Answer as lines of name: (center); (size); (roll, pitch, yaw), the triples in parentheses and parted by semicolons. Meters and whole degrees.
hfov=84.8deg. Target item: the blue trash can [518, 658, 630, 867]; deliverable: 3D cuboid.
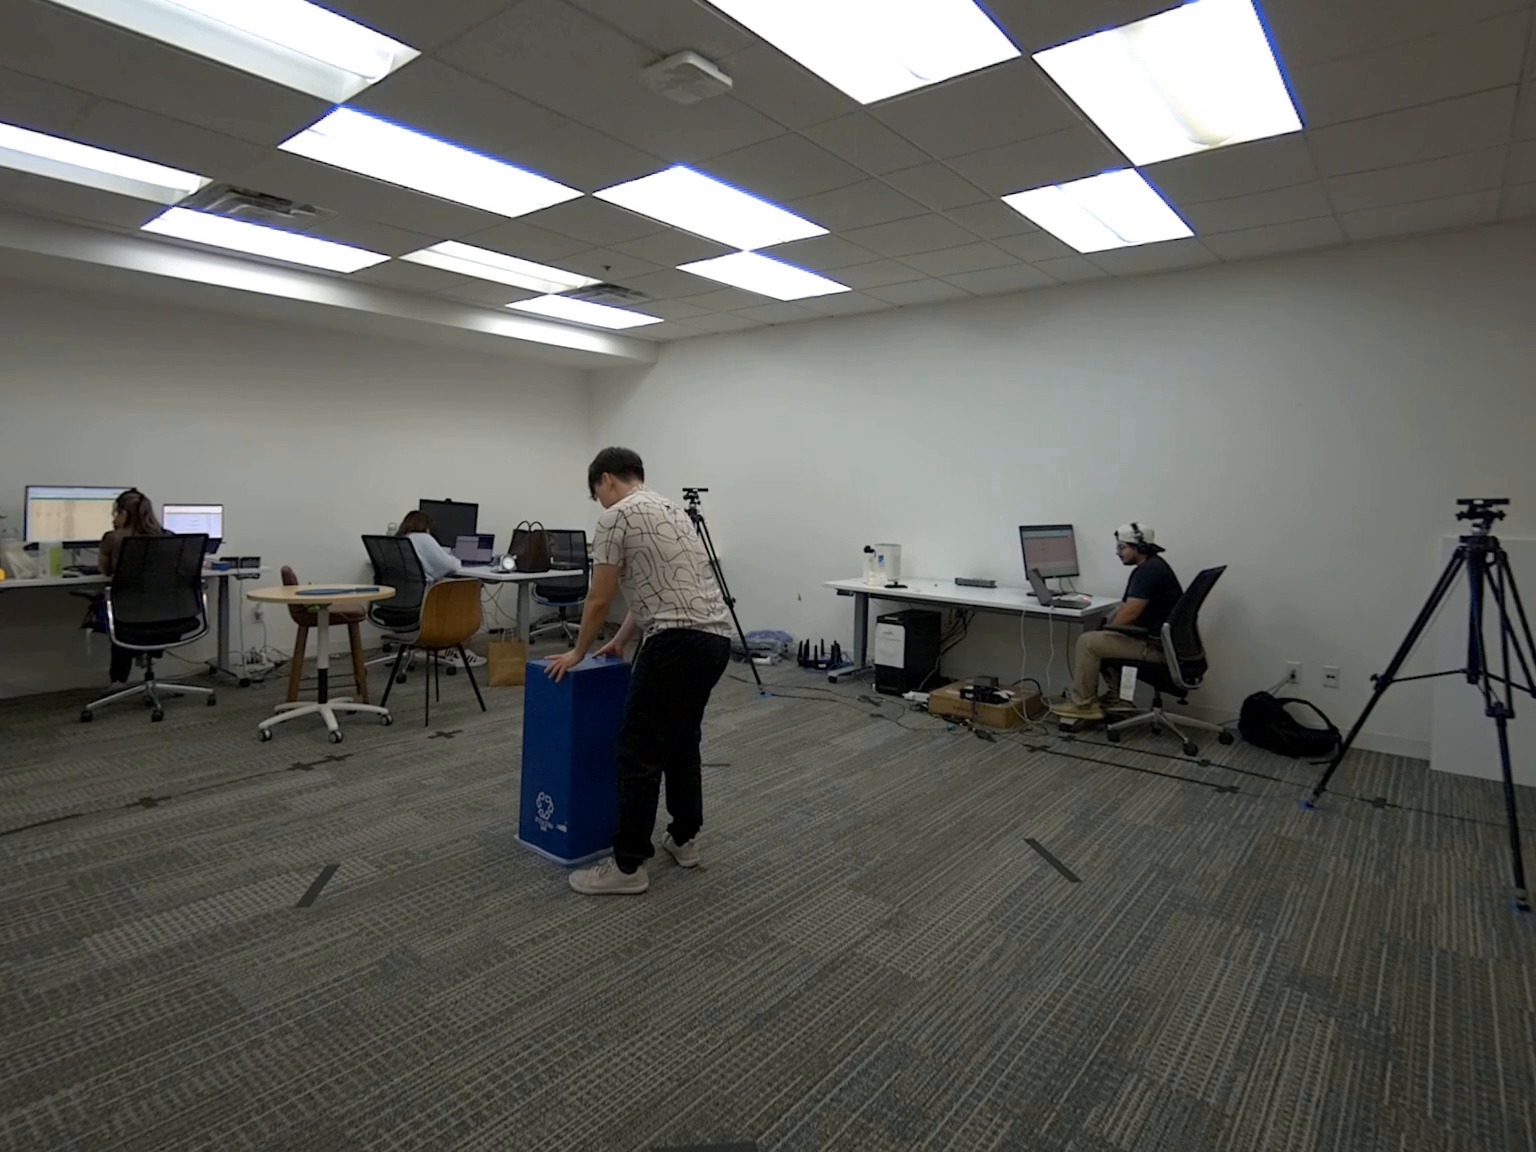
blue trash can: (-0.763, 0.683, 3.324); (0.390, 0.712, 0.363); (3, 3, 41)
